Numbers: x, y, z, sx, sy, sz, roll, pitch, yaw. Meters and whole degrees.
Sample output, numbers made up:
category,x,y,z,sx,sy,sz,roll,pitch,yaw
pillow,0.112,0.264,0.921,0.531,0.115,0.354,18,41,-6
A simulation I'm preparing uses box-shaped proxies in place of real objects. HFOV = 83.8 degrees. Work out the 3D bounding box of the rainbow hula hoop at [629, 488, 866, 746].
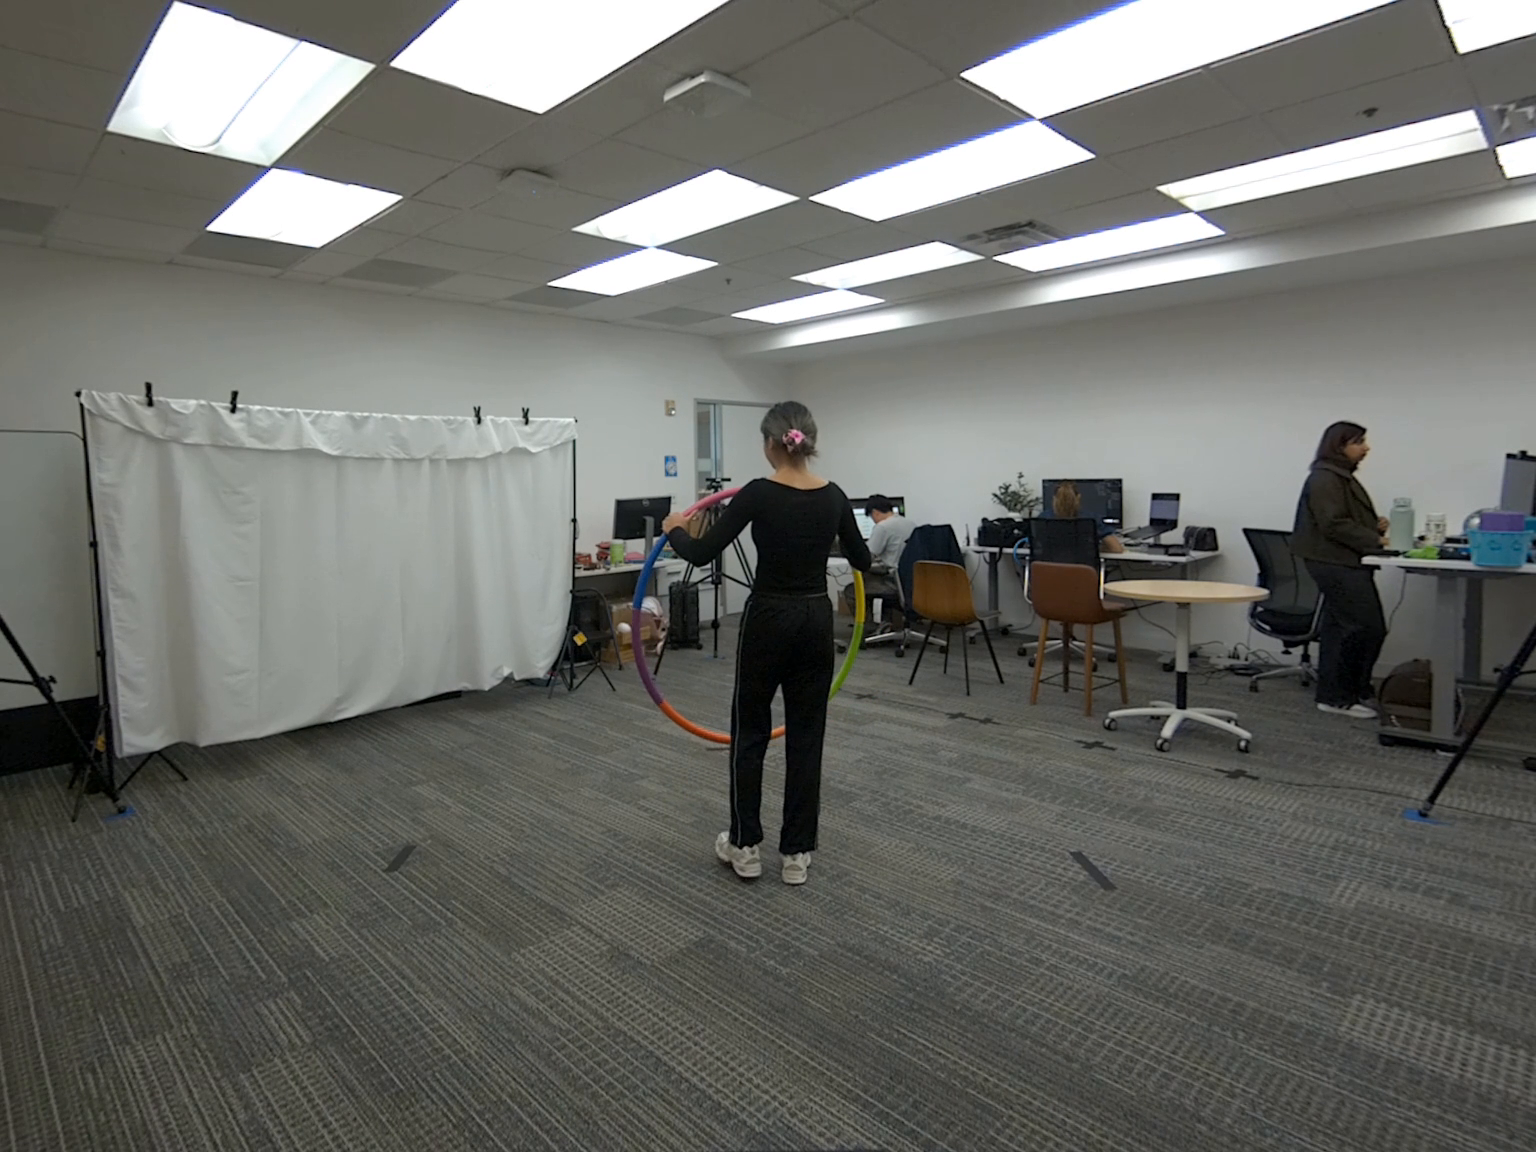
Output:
category,x,y,z,sx,sy,sz,roll,pitch,yaw
rainbow hula hoop,-0.051,0.154,3.269,0.959,0.974,0.036,-3,5,-23
